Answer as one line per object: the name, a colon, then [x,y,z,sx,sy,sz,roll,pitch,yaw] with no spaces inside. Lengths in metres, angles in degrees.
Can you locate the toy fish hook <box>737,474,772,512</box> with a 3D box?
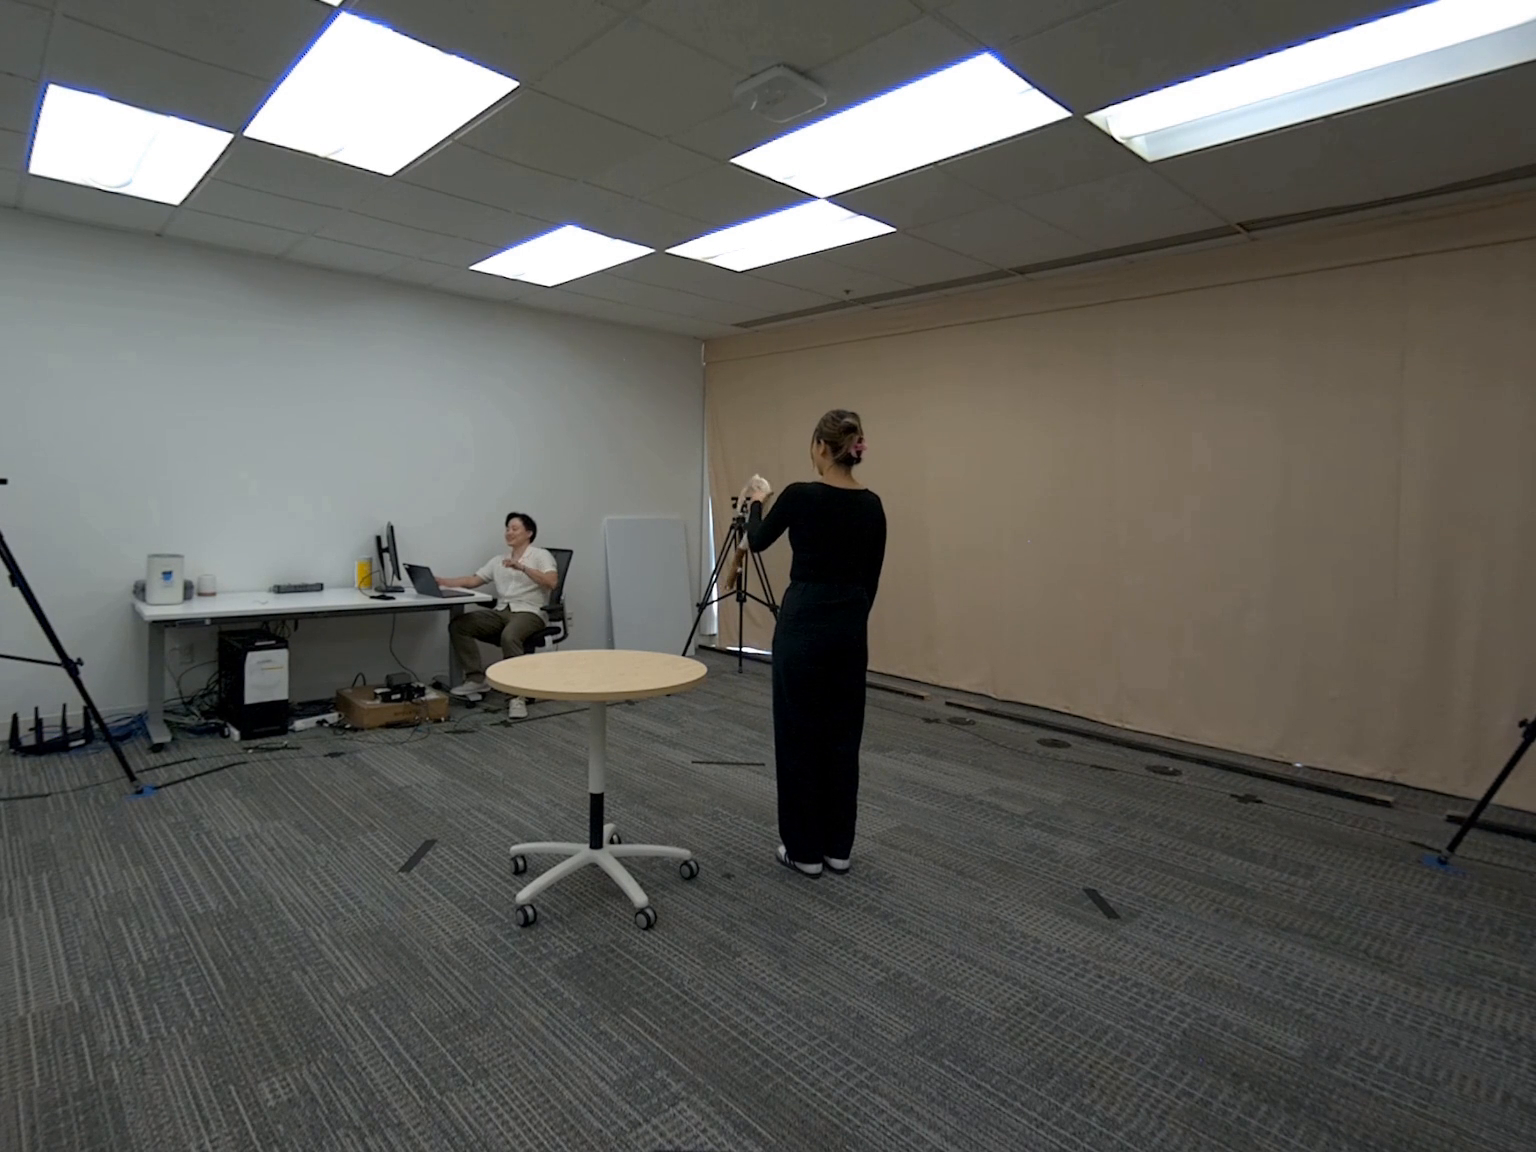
toy fish hook: [-0.115,-0.170,3.628,0.047,0.504,0.231,13,15,-28]
